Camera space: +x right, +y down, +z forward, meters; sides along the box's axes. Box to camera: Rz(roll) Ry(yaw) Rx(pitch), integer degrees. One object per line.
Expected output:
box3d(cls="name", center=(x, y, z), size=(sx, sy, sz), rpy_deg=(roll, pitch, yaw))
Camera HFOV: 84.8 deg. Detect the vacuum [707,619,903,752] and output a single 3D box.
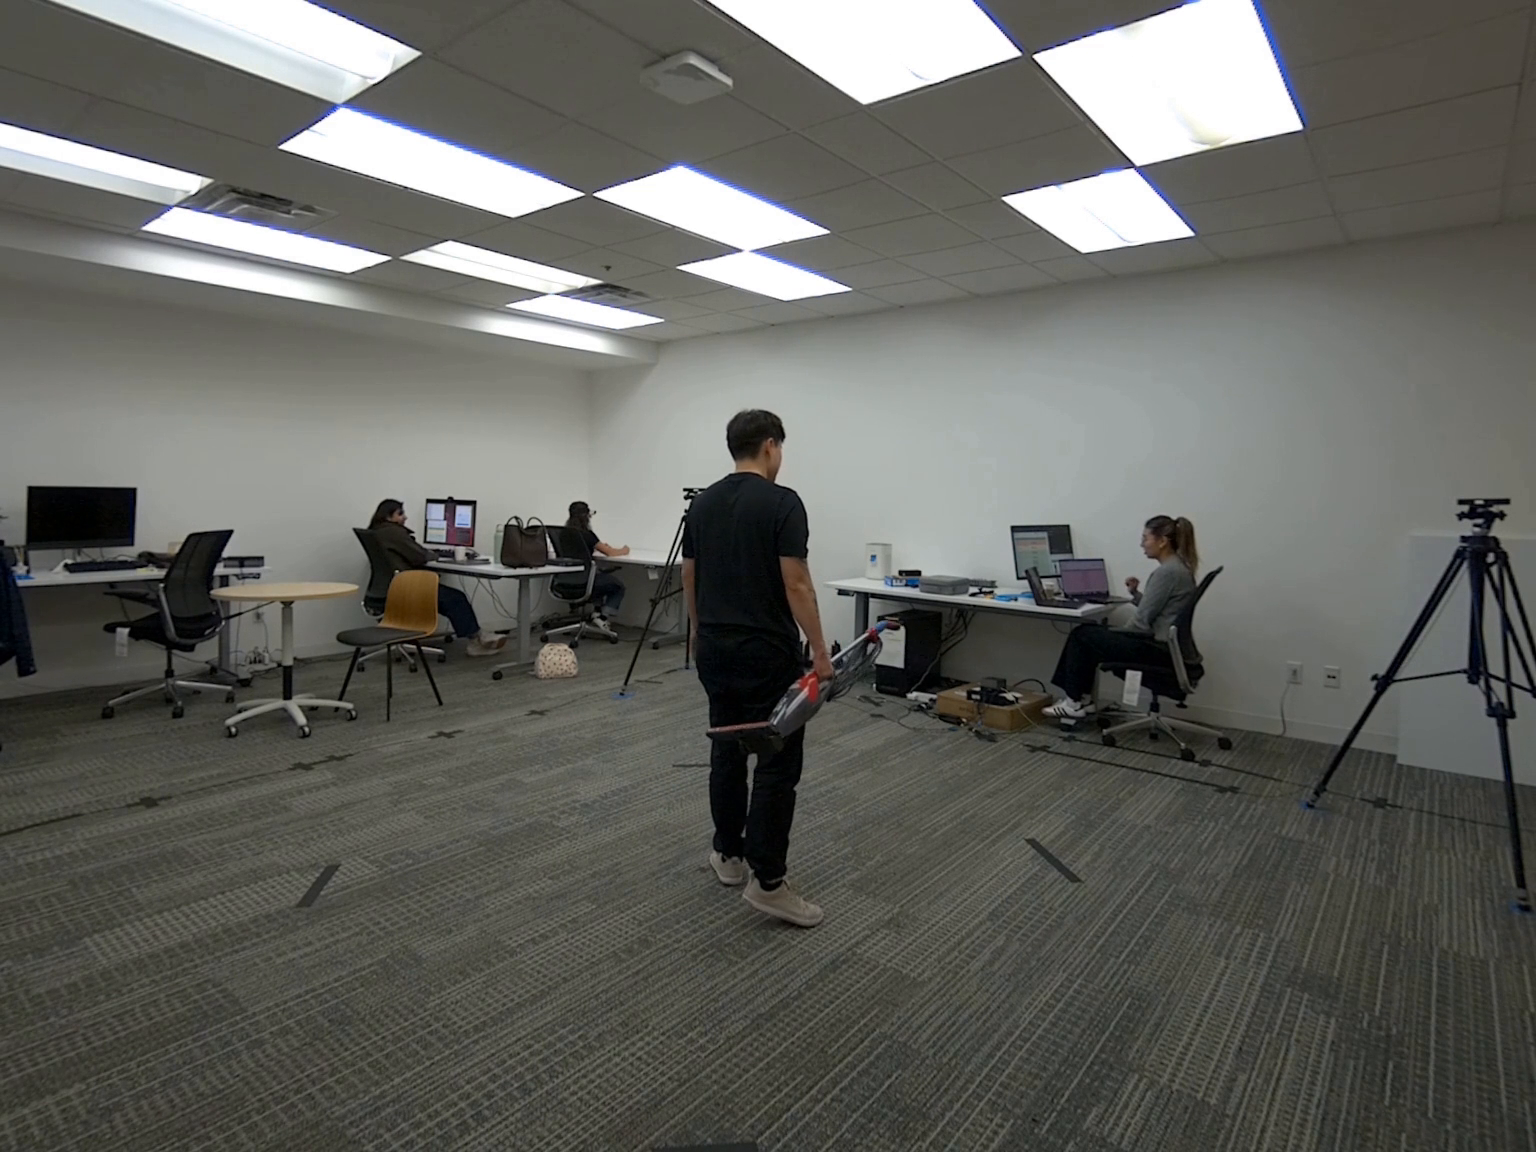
box3d(cls="vacuum", center=(0.235, 0.344, 2.930), size=(0.257, 0.144, 1.032), rpy_deg=(-20, 4, 38))
